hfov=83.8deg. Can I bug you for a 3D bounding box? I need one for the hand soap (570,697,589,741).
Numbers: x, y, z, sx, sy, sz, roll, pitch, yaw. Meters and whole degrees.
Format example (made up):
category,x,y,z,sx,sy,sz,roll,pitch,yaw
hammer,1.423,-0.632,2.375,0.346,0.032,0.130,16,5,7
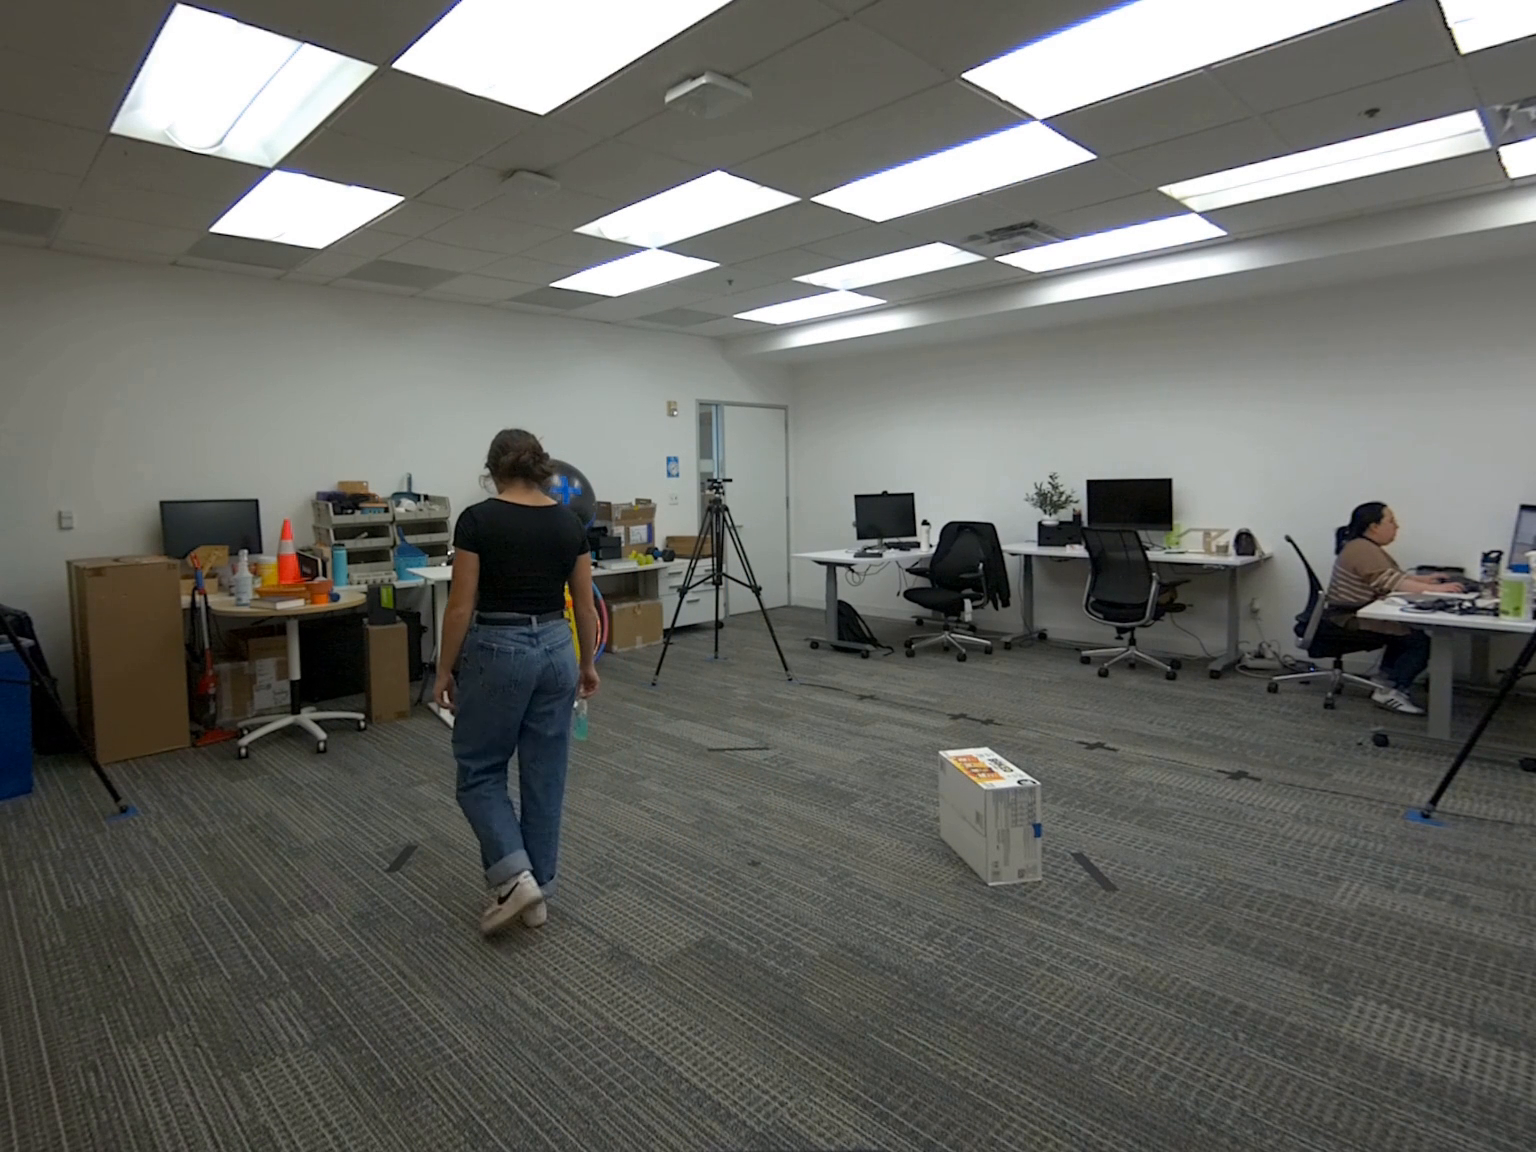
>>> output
category,x,y,z,sx,sy,sz,roll,pitch,yaw
hand soap,-0.645,0.483,2.946,0.042,0.167,0.087,-1,5,-26
